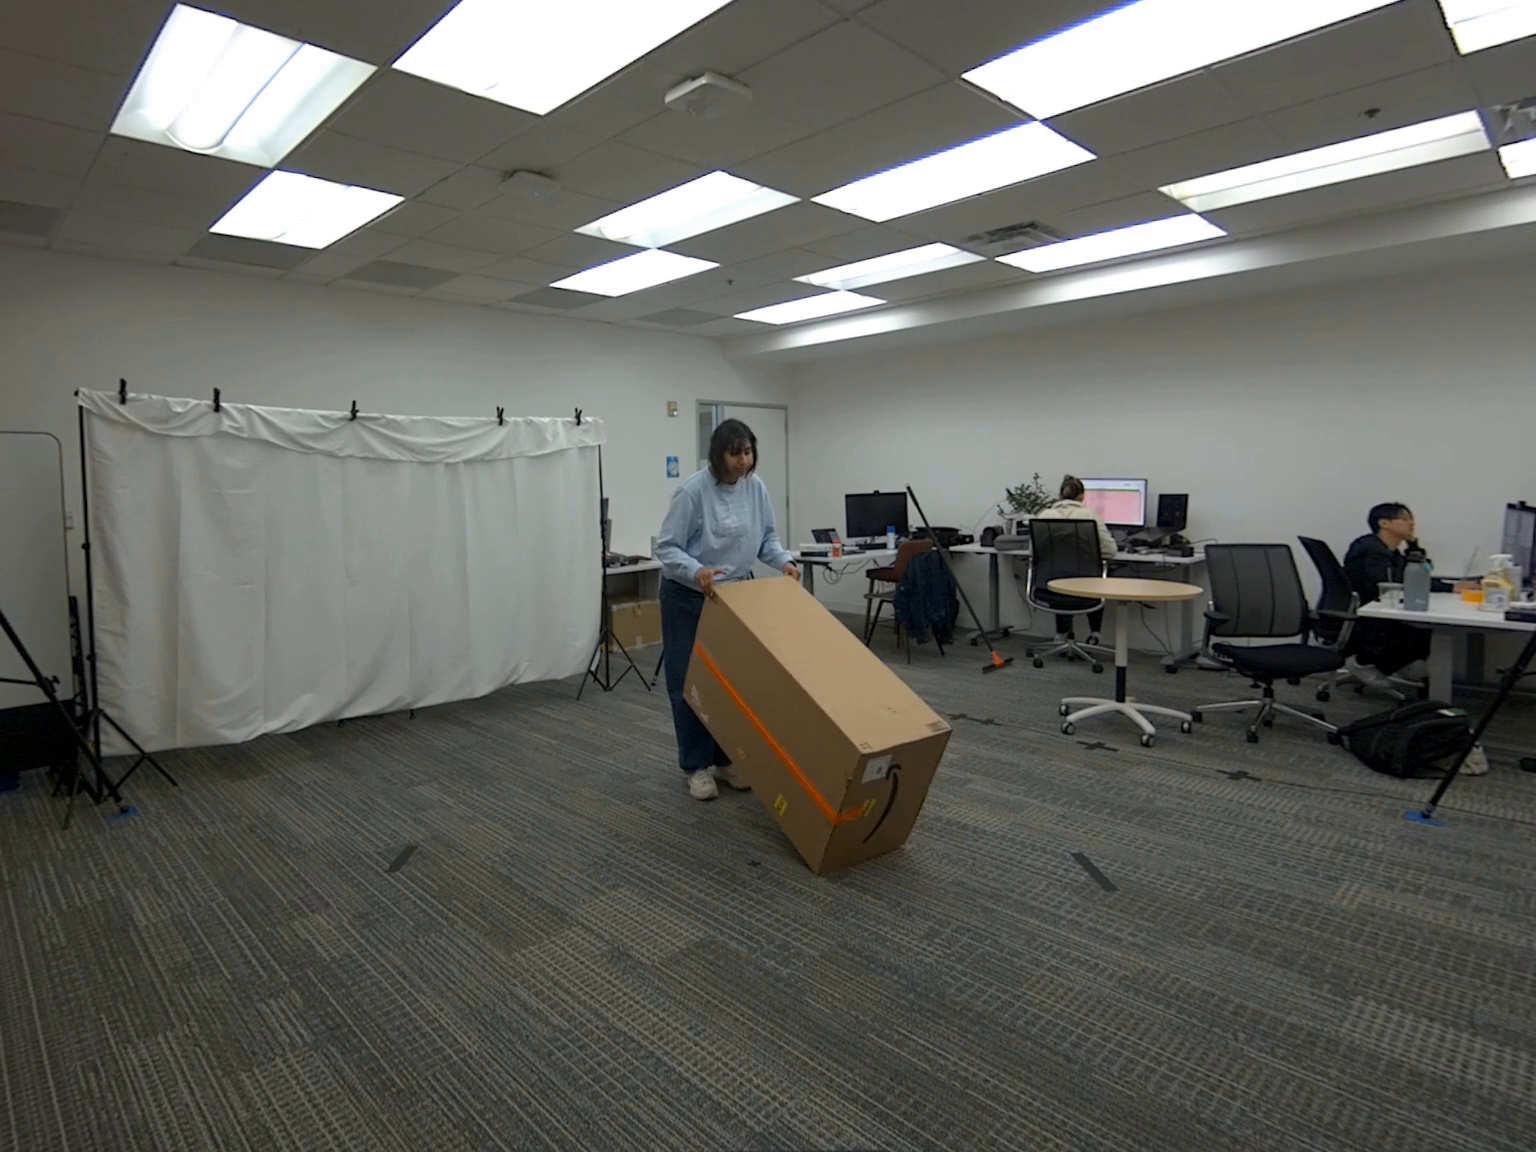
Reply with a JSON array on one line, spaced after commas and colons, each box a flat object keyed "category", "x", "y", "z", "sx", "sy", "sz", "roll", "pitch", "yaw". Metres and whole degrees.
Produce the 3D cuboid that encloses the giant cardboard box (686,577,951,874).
[{"category": "giant cardboard box", "x": 0.139, "y": 0.531, "z": 3.335, "sx": 0.436, "sy": 0.575, "sz": 1.068, "roll": -4, "pitch": 33, "yaw": -34}]
